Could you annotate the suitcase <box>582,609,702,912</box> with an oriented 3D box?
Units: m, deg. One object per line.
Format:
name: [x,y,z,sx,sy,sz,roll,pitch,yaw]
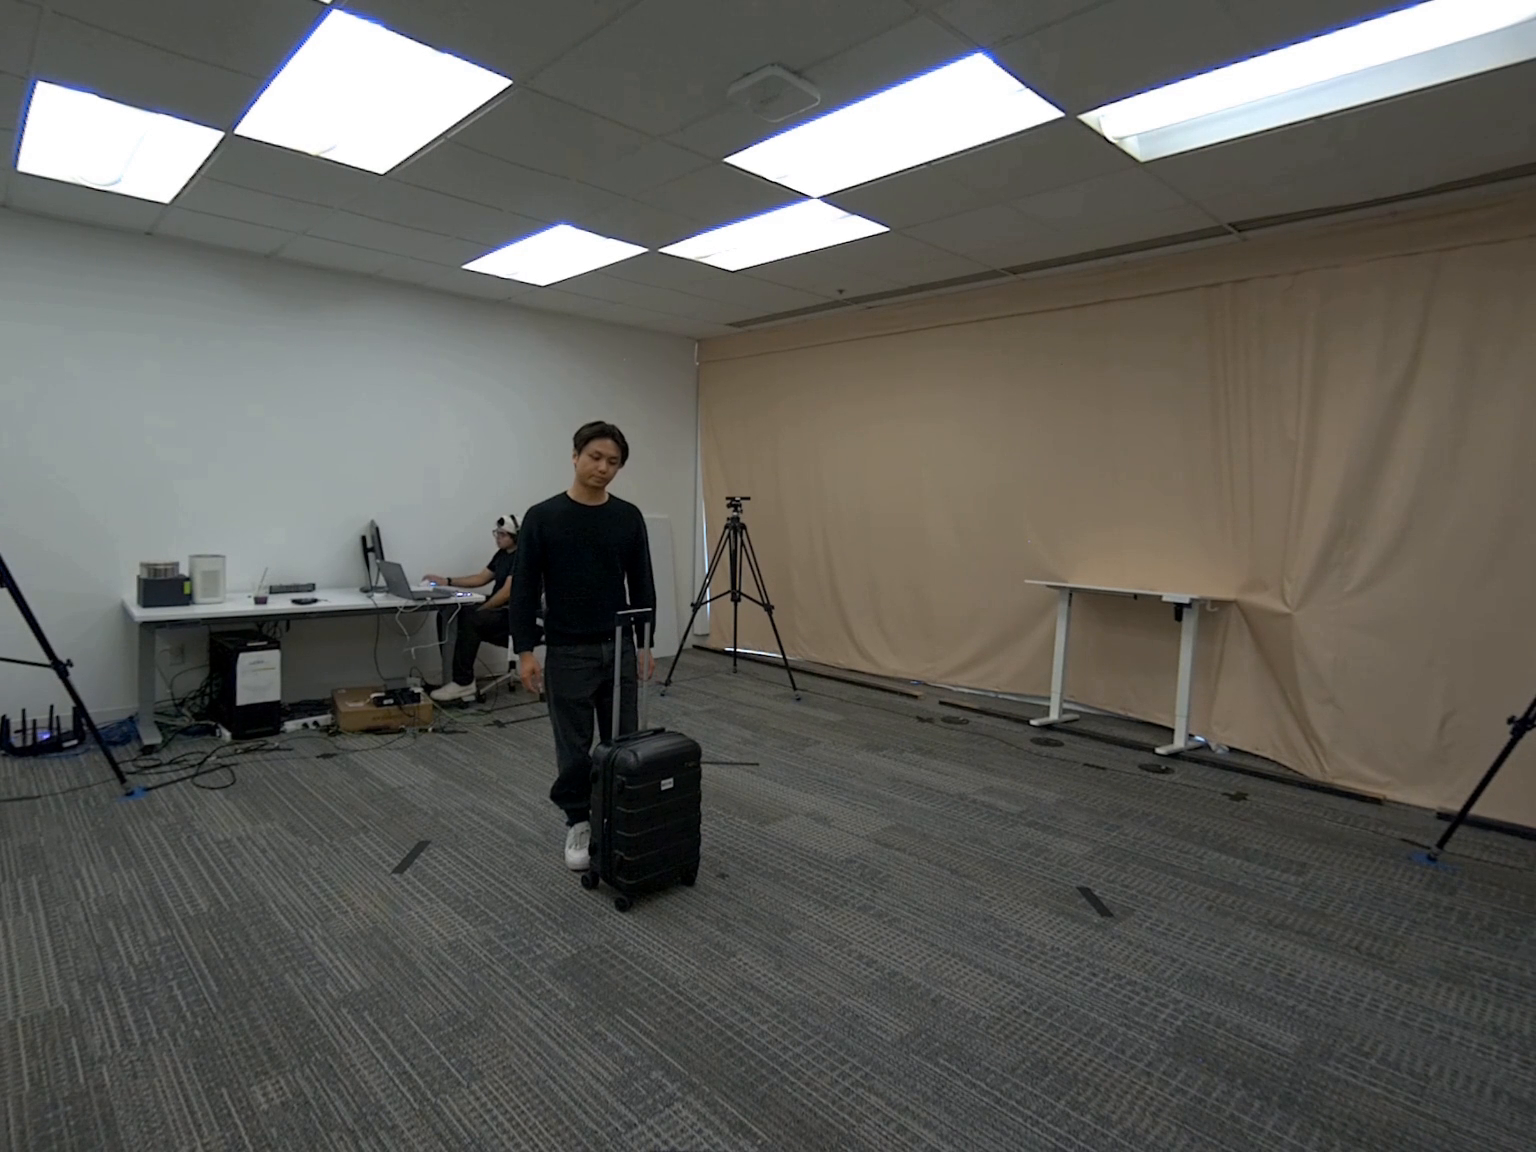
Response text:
suitcase: [-0.424,0.637,2.968,0.375,0.975,0.264,-1,6,-44]
